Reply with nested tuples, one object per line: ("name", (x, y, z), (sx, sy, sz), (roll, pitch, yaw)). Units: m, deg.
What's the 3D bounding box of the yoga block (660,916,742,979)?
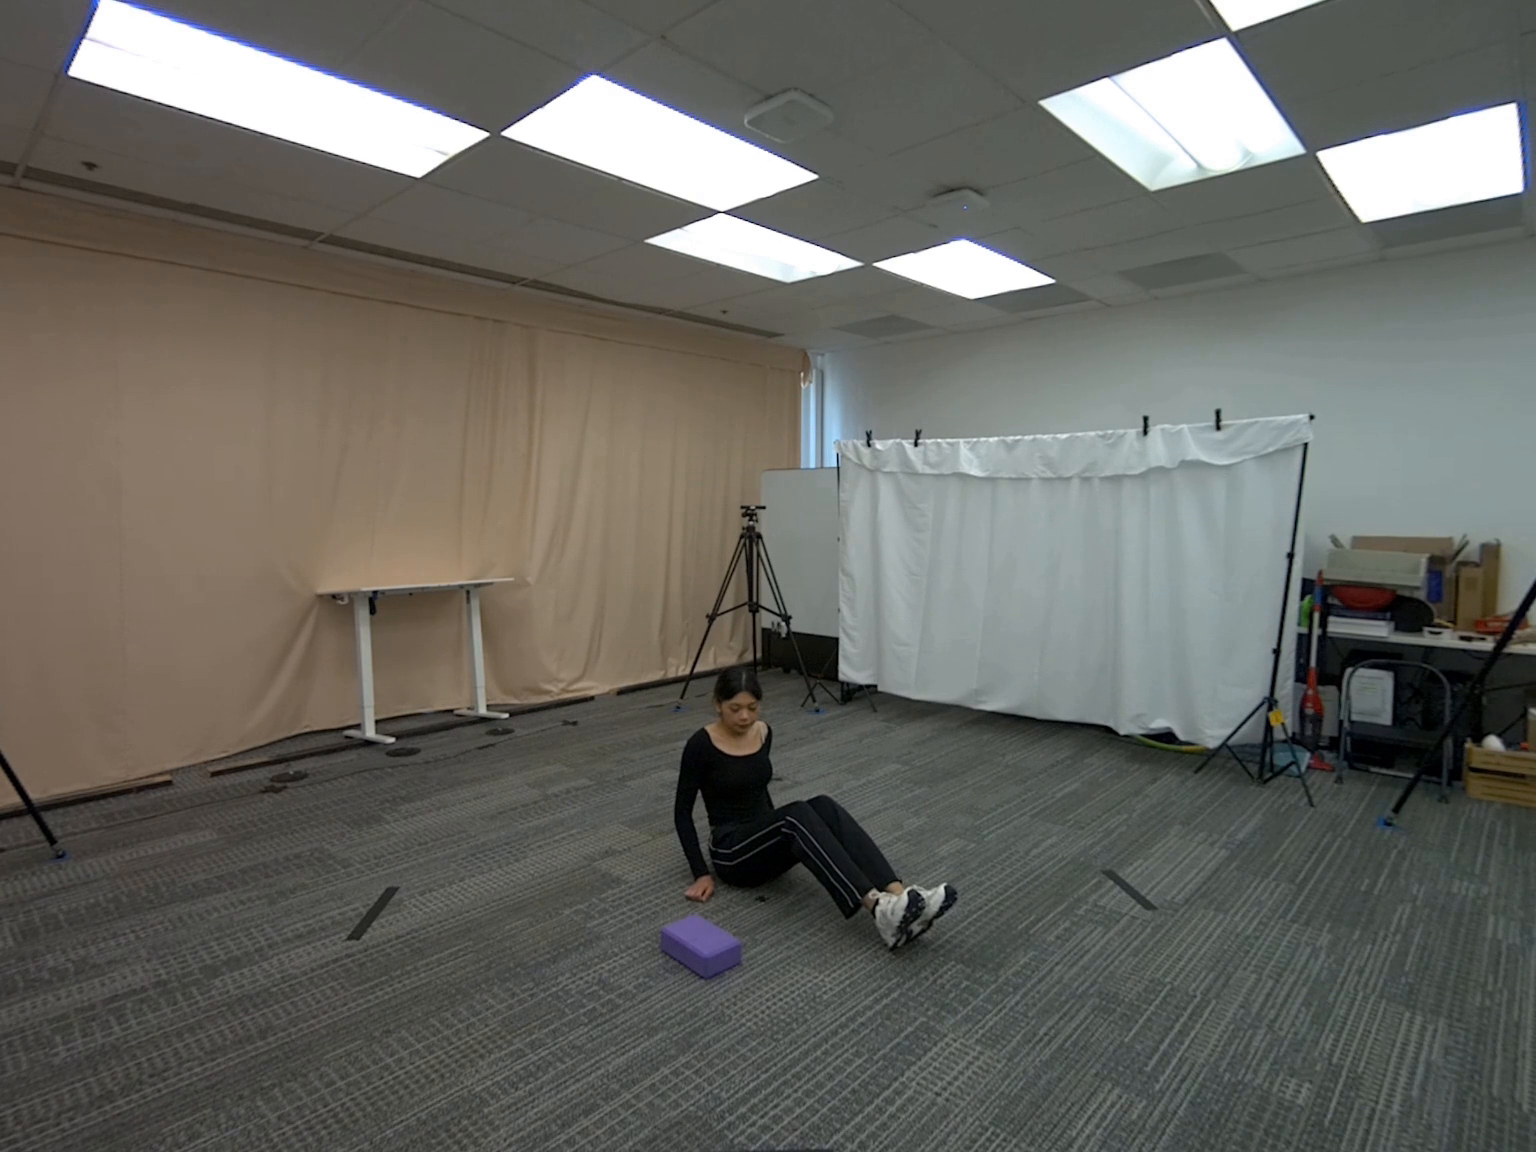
("yoga block", (-0.205, 1.129, 2.598), (0.144, 0.076, 0.237), (-4, 8, -42))
